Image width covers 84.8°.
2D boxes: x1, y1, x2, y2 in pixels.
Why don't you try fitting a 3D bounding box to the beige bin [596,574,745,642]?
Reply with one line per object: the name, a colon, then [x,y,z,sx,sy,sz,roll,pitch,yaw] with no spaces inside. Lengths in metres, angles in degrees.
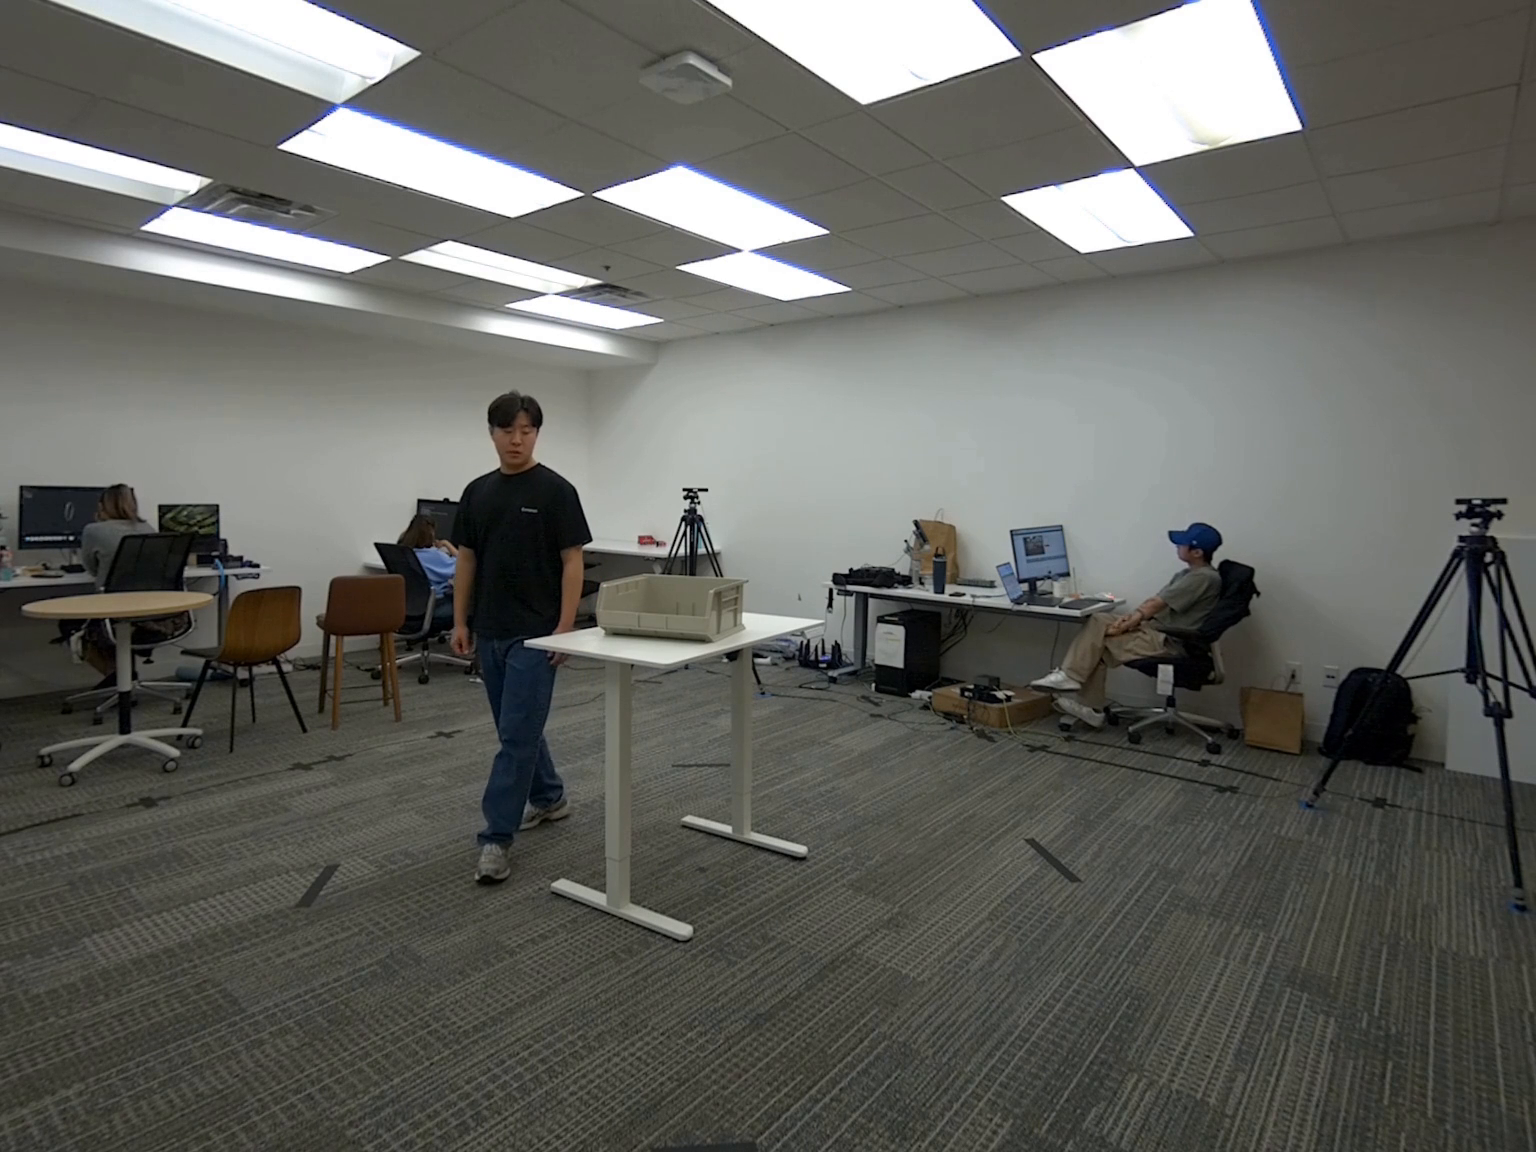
beige bin: [-0.340,0.108,2.988,0.432,0.188,0.370,2,4,20]
